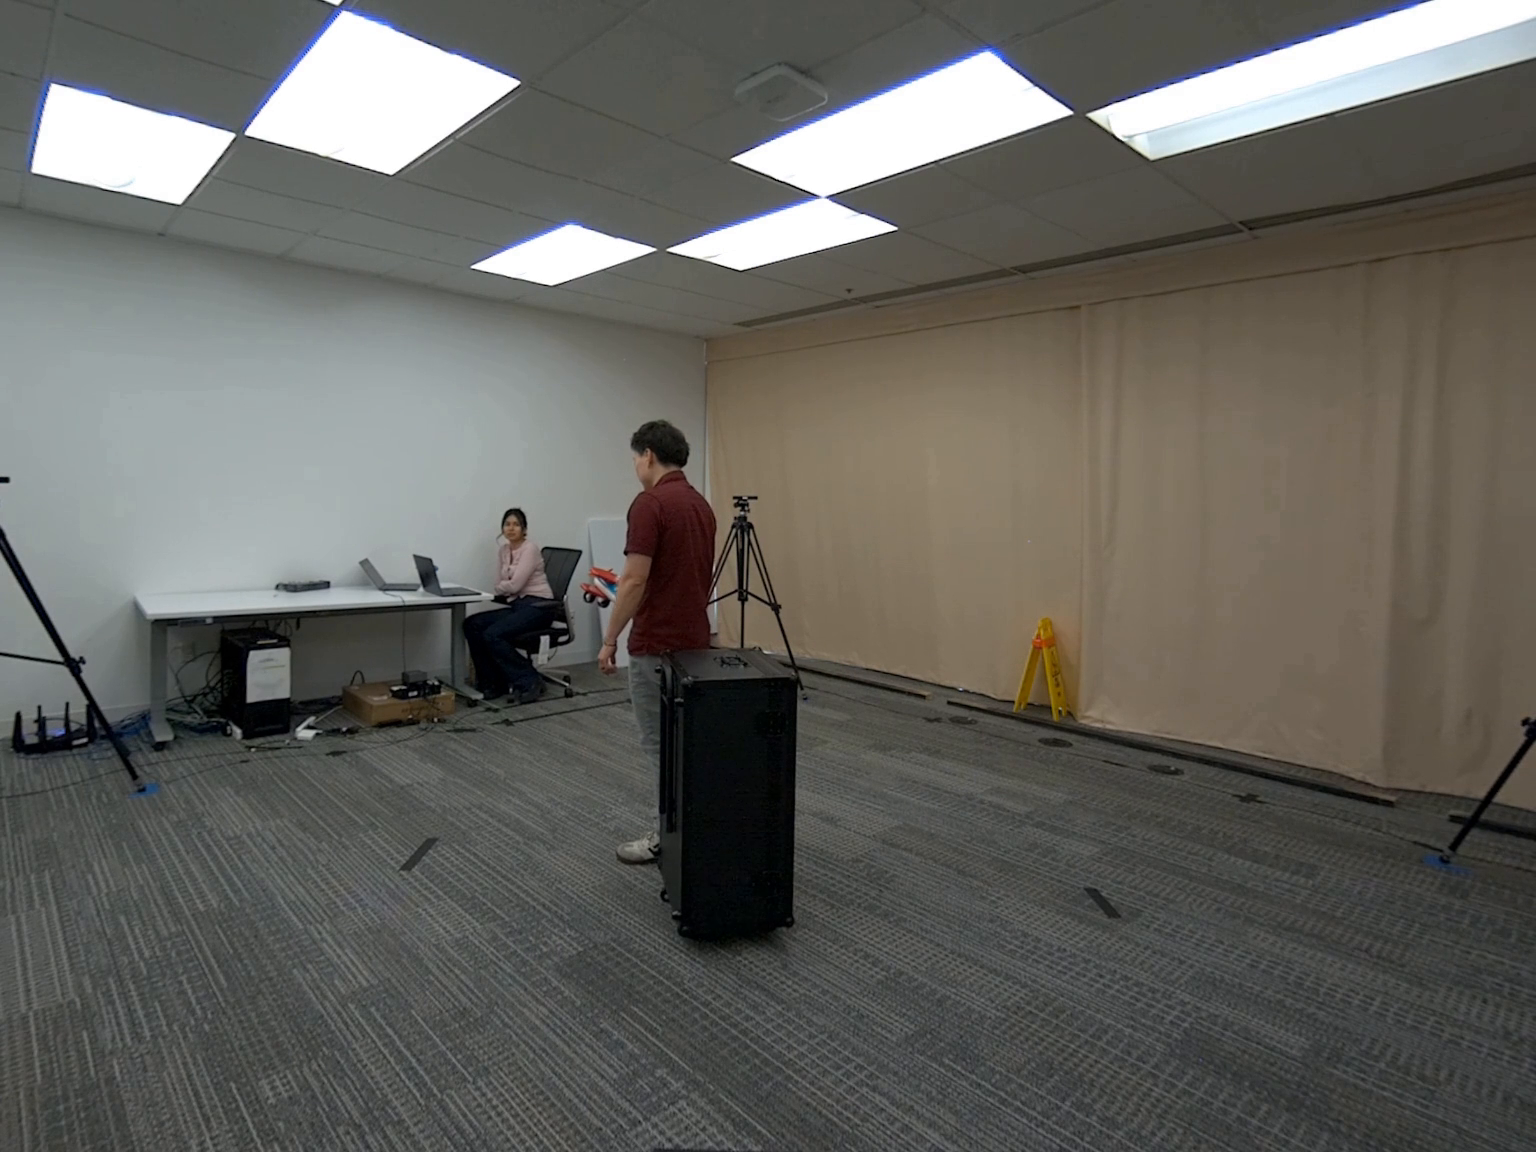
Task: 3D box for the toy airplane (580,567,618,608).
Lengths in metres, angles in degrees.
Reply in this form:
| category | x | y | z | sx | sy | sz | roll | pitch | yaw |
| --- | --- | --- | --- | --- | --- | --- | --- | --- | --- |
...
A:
| category | x | y | z | sx | sy | sz | roll | pitch | yaw |
| --- | --- | --- | --- | --- | --- | --- | --- | --- | --- |
| toy airplane | -0.650 | 0.077 | 3.555 | 0.263 | 0.156 | 0.247 | 20 | -3 | 13 |
